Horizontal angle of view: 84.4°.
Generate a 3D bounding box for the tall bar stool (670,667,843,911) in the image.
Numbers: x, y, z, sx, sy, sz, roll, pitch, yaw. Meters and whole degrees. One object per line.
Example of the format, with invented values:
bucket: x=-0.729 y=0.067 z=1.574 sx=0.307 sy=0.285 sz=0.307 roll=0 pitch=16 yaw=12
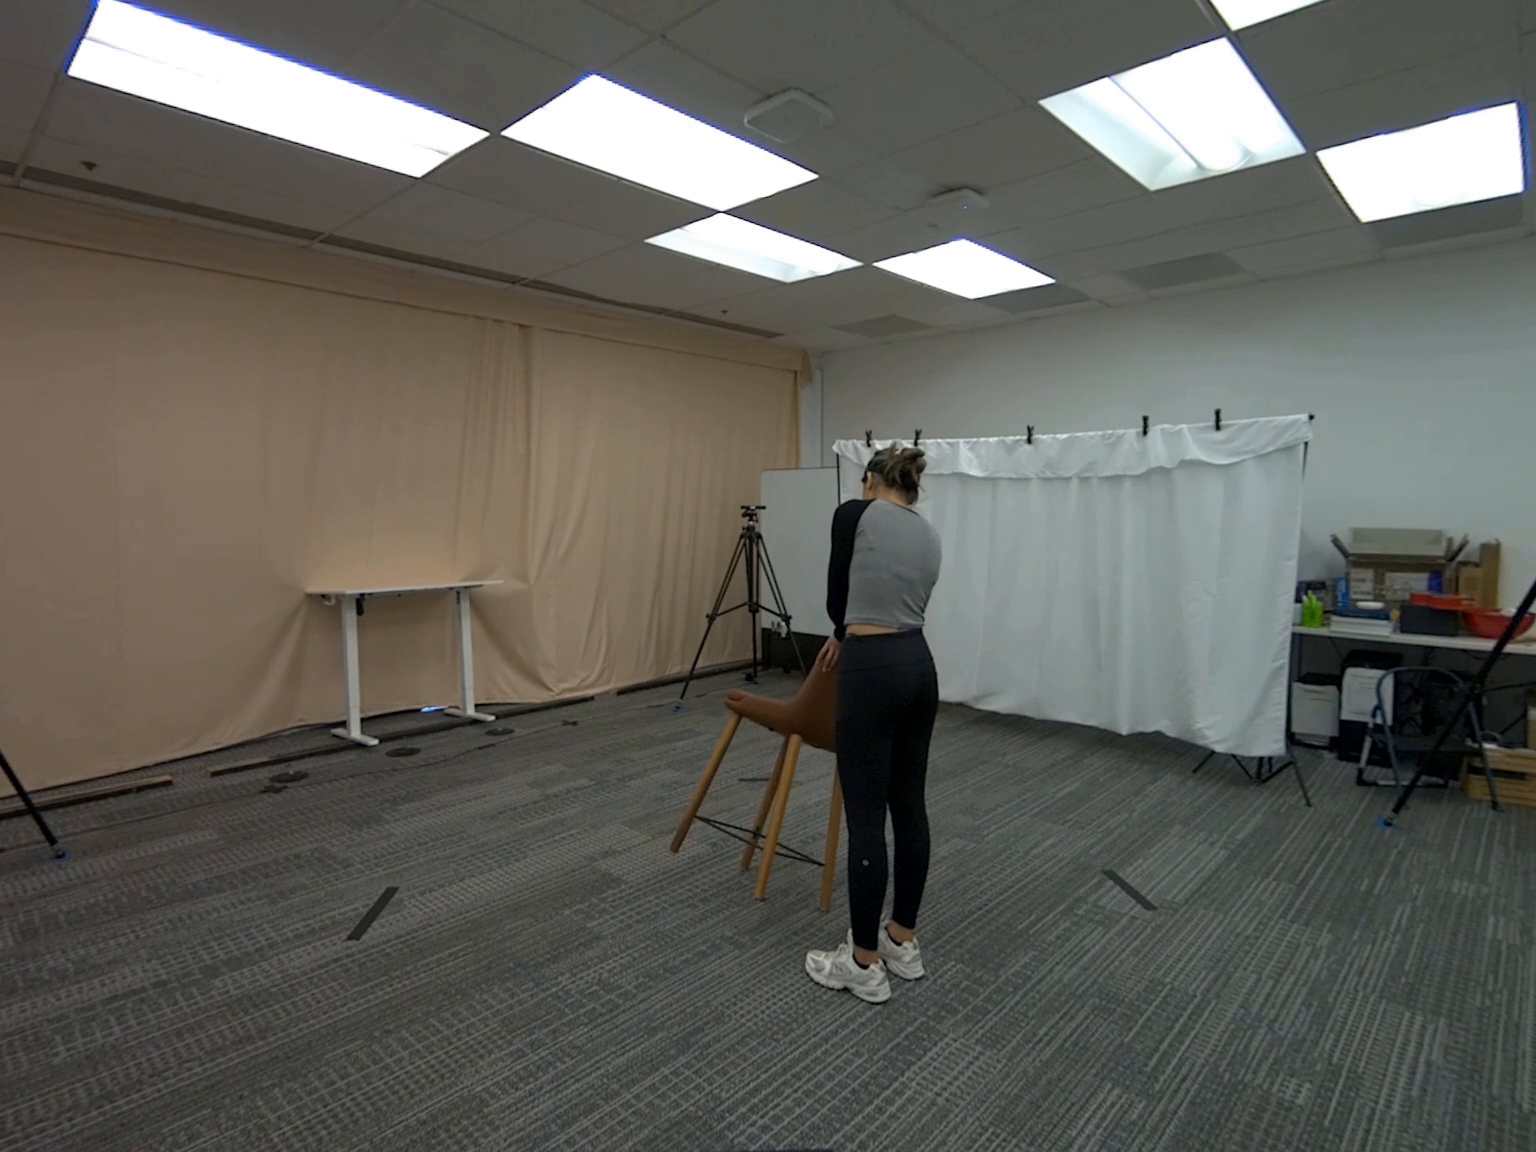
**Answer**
tall bar stool: x=0.076 y=0.661 z=3.028 sx=0.440 sy=0.892 sz=0.484 roll=28 pitch=-13 yaw=-41
